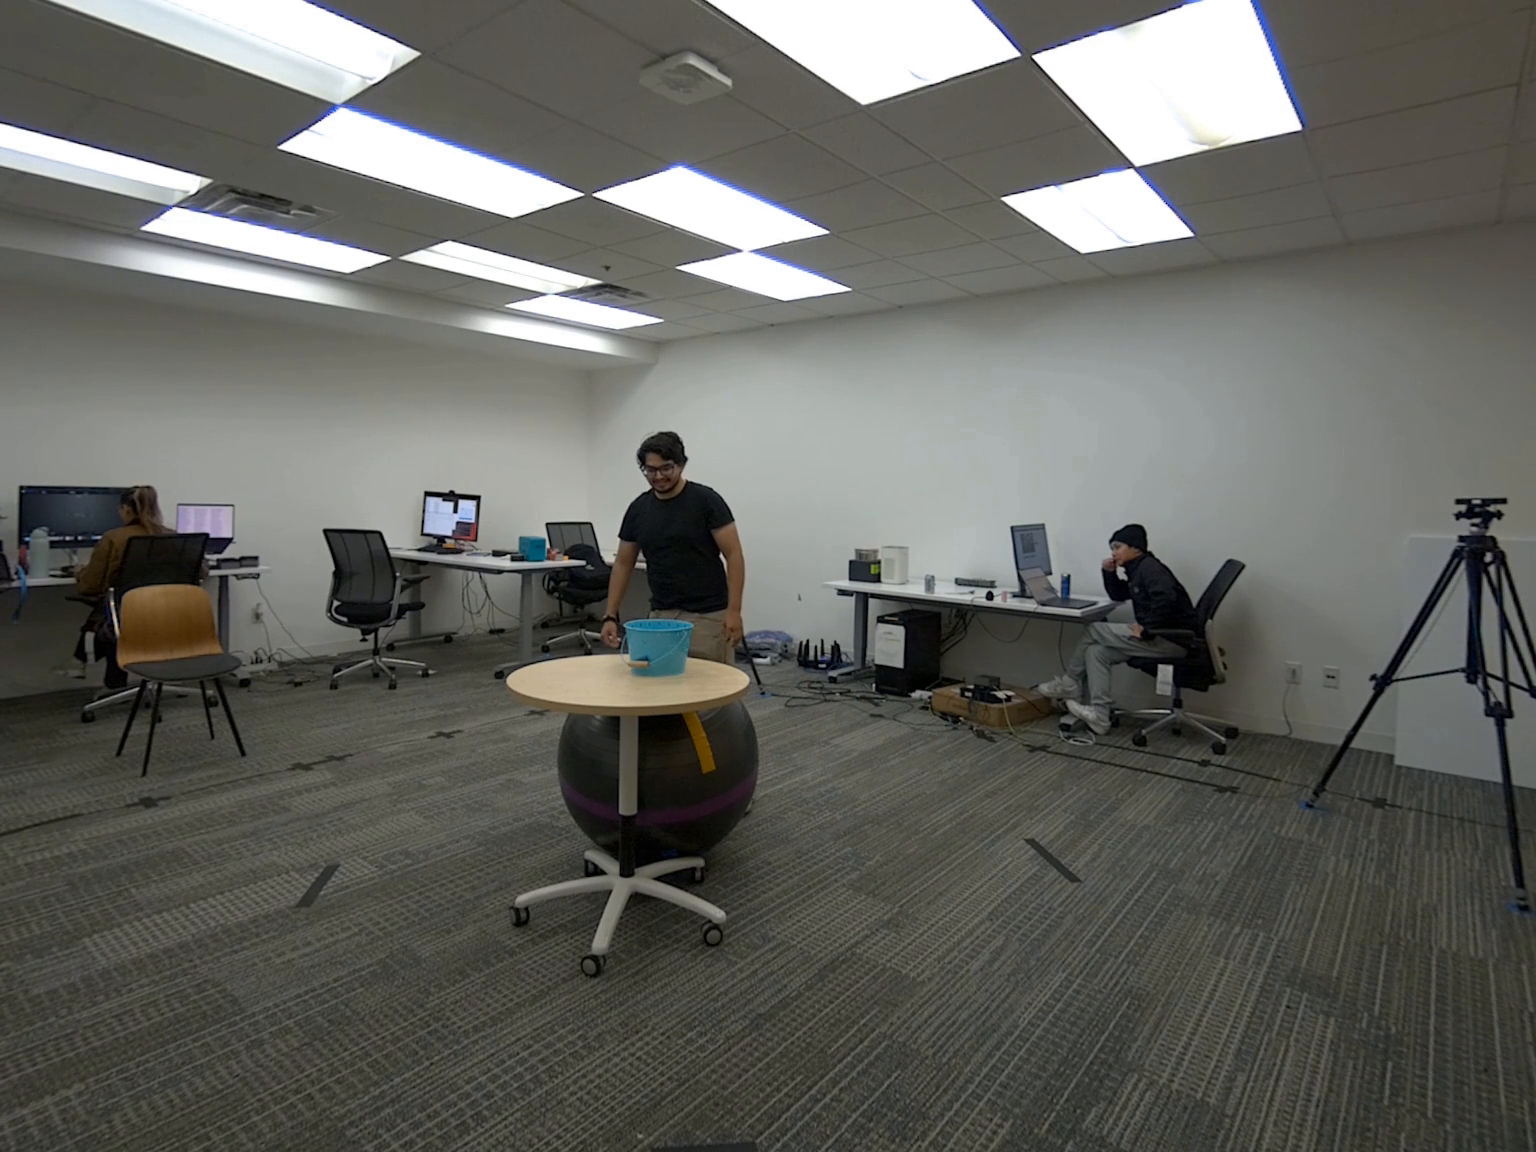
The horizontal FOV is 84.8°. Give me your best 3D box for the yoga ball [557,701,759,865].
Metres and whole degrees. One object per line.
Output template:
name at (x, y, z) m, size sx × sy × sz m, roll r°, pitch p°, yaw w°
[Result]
yoga ball at (-0.408, 0.690, 3.219) m, size 0.757 × 0.755 × 0.762 m, roll 1°, pitch 4°, yaw -2°
